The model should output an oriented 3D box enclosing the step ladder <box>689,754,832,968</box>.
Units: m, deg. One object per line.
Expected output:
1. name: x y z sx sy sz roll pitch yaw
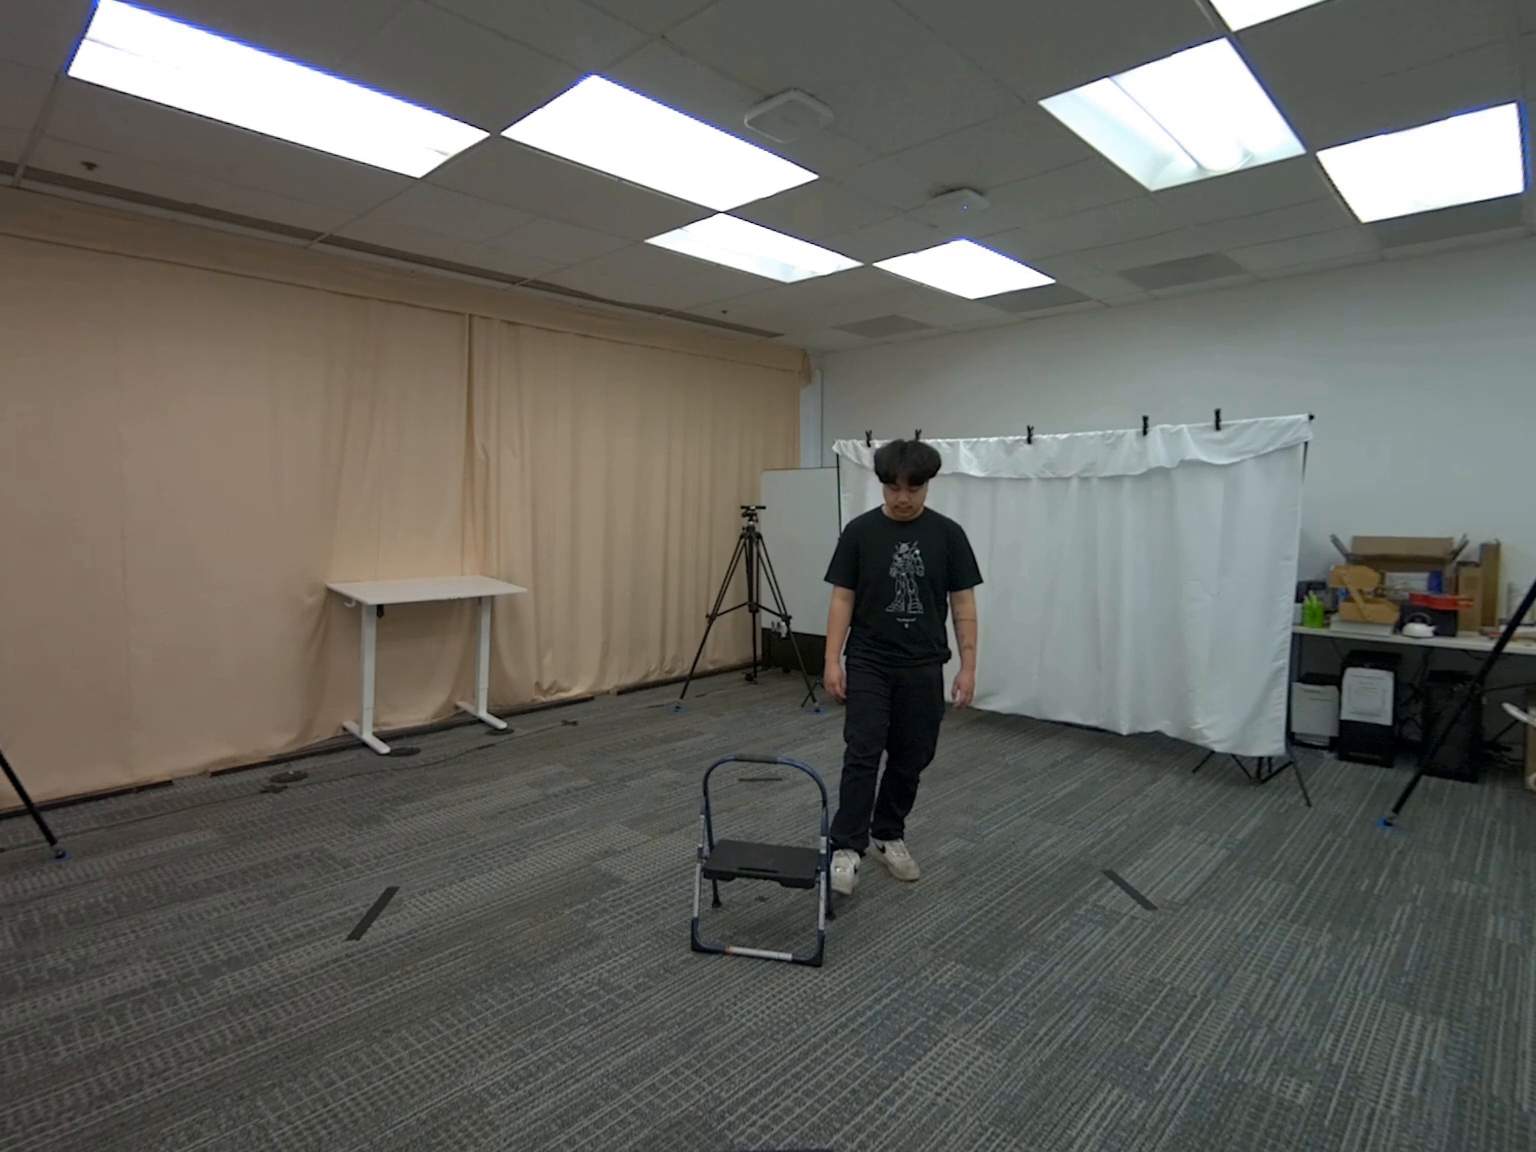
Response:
1. step ladder: -0.008 0.862 2.729 0.436 0.605 0.345 1 3 12
